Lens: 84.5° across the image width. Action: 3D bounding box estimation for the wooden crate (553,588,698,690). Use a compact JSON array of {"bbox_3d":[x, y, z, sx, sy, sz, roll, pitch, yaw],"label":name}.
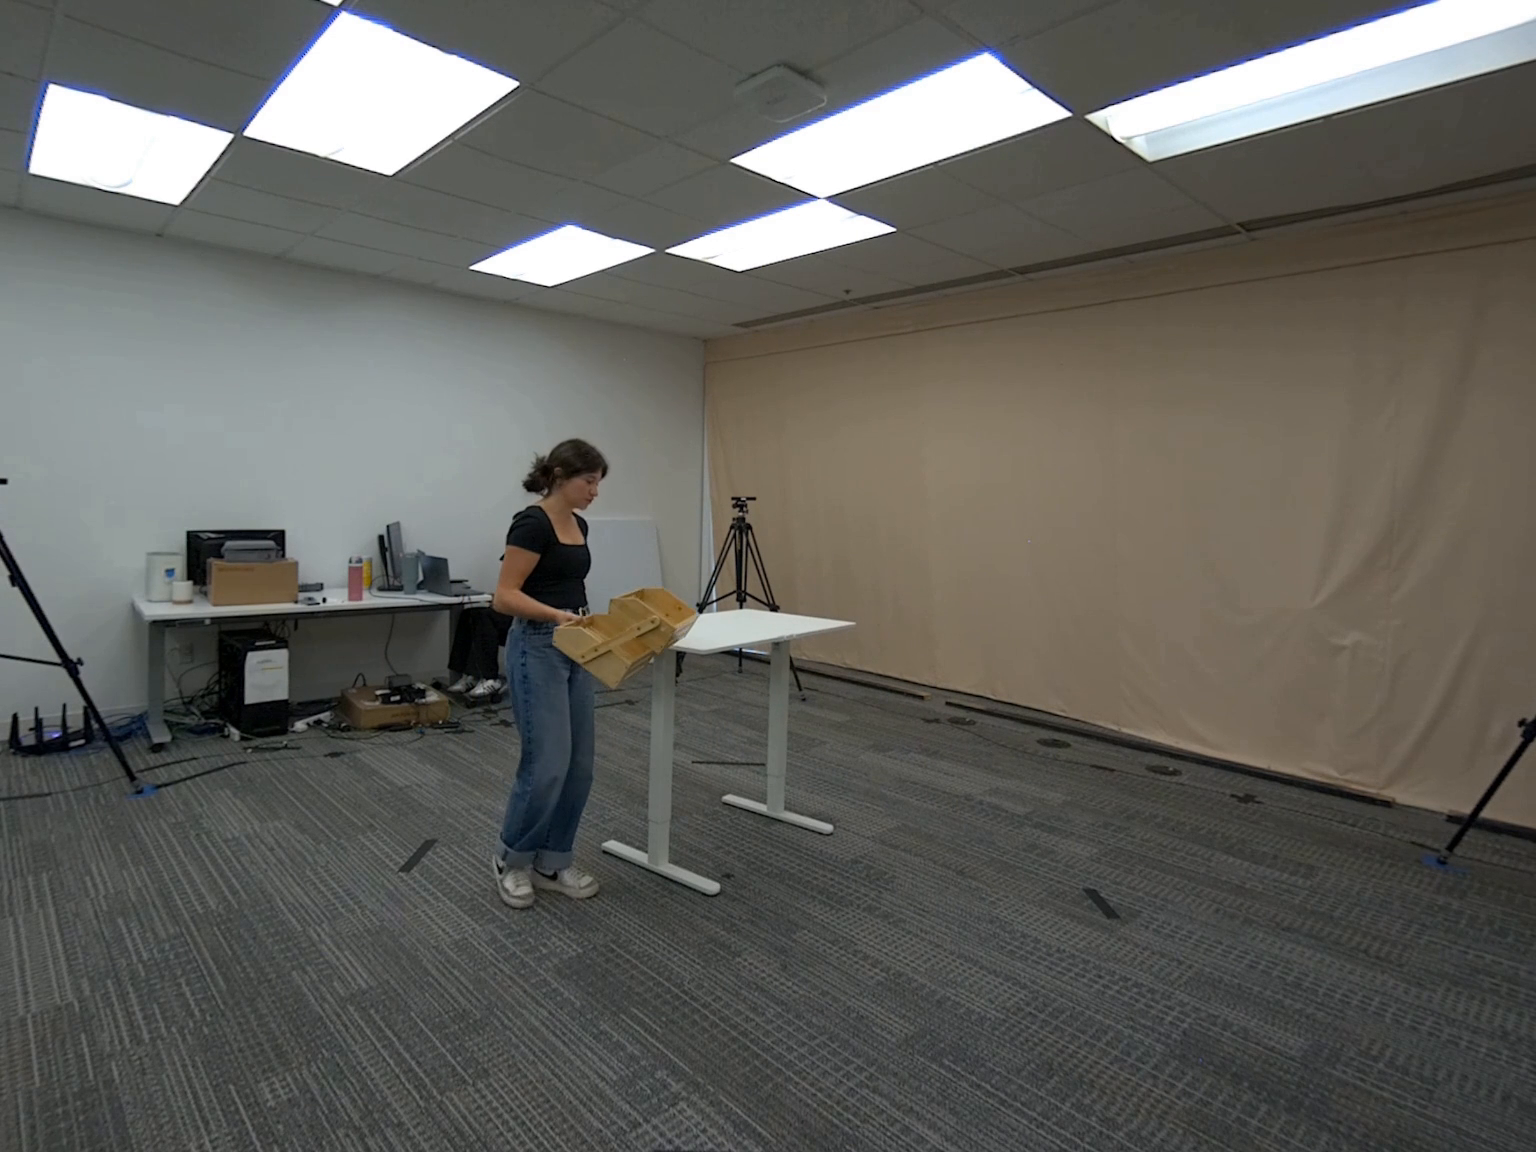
[{"bbox_3d":[-0.444,0.157,2.575,0.304,0.273,0.322,37,9,6],"label":"wooden crate"}]
